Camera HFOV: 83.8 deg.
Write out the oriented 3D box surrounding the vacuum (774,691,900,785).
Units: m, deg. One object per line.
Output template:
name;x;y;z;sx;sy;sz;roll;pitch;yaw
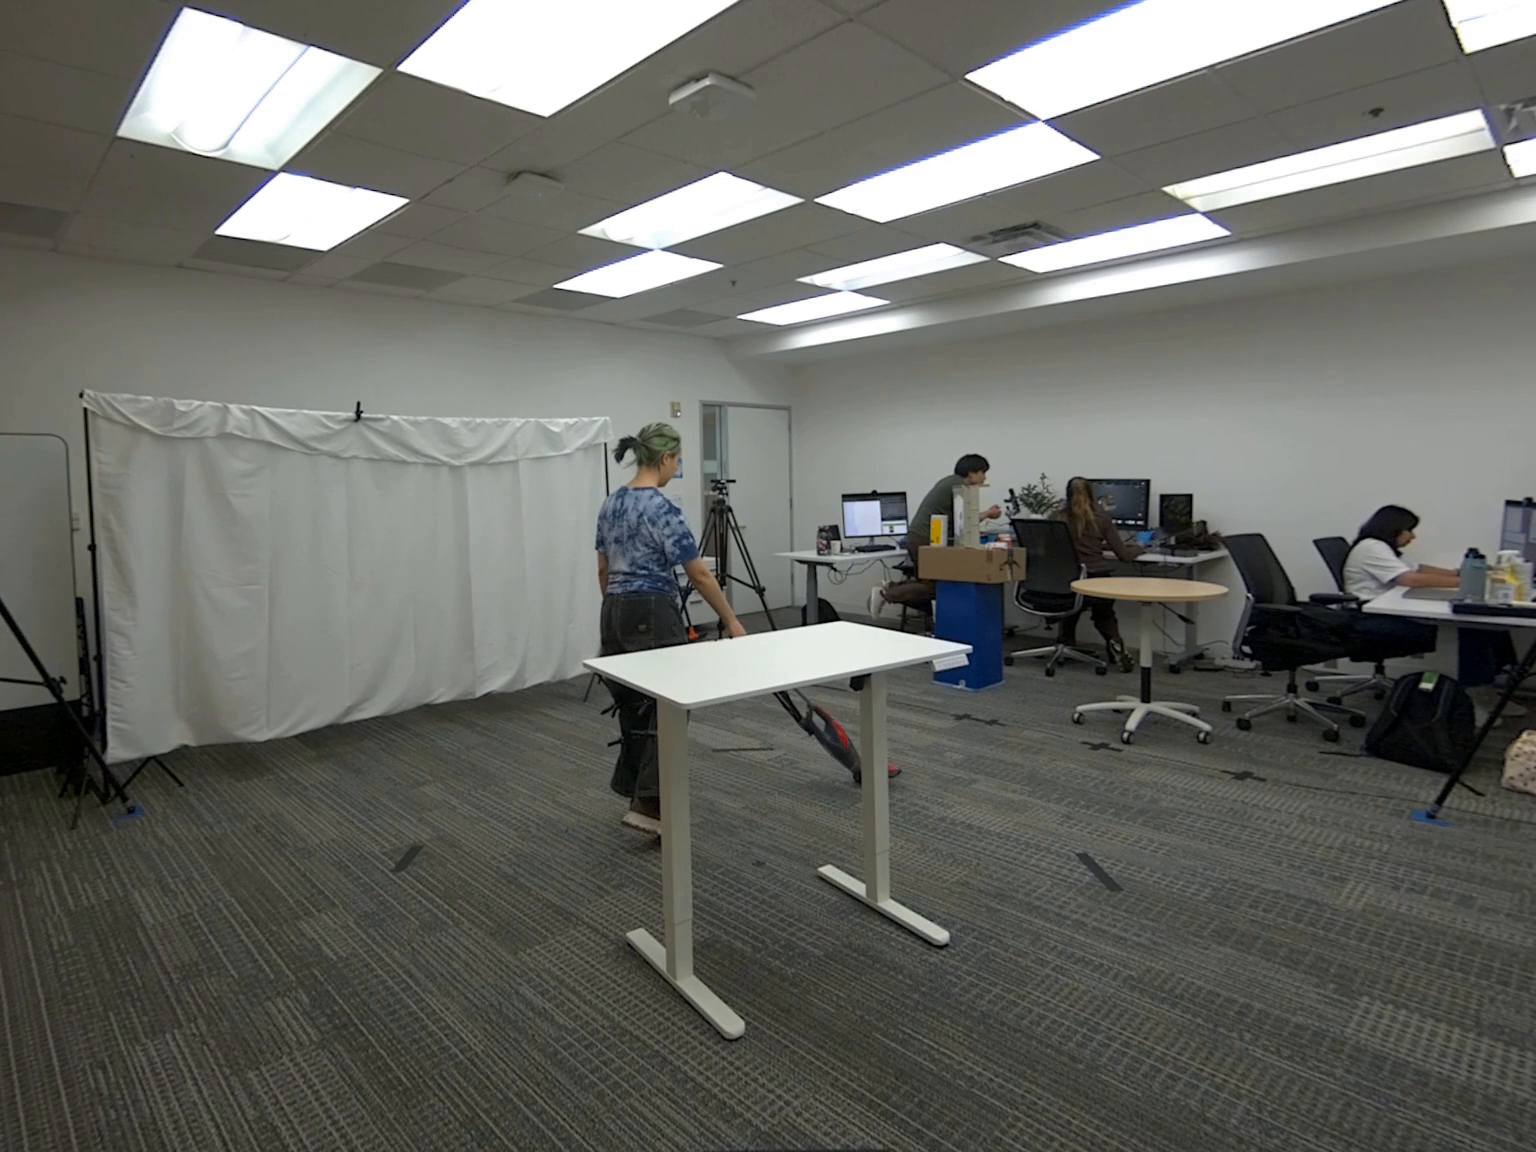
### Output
vacuum;0.164;0.600;3.706;1.018;0.144;0.259;44;-23;-25
